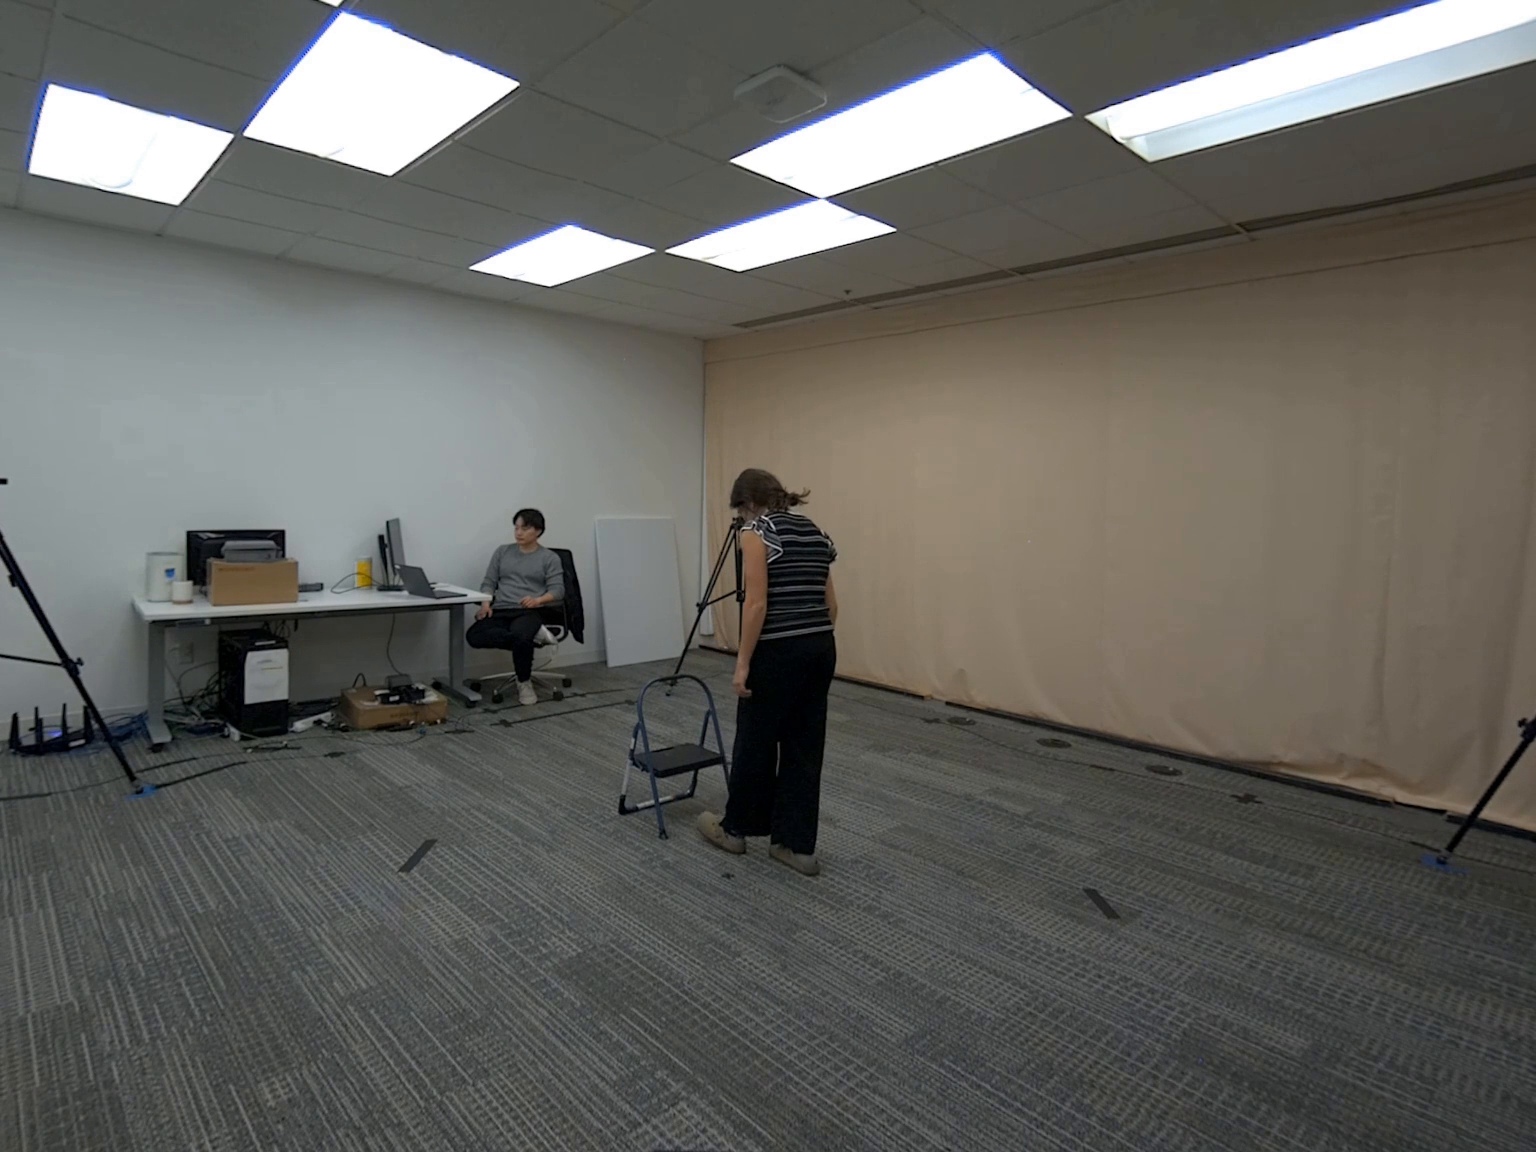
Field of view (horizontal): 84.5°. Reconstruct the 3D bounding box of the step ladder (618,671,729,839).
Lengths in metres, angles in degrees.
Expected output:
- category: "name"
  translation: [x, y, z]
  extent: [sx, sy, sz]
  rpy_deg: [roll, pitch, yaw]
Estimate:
- category: "step ladder"
  translation: [-0.392, 0.751, 3.679]
  extent: [0.420, 0.605, 0.358]
  rpy_deg: [-1, 4, -43]
